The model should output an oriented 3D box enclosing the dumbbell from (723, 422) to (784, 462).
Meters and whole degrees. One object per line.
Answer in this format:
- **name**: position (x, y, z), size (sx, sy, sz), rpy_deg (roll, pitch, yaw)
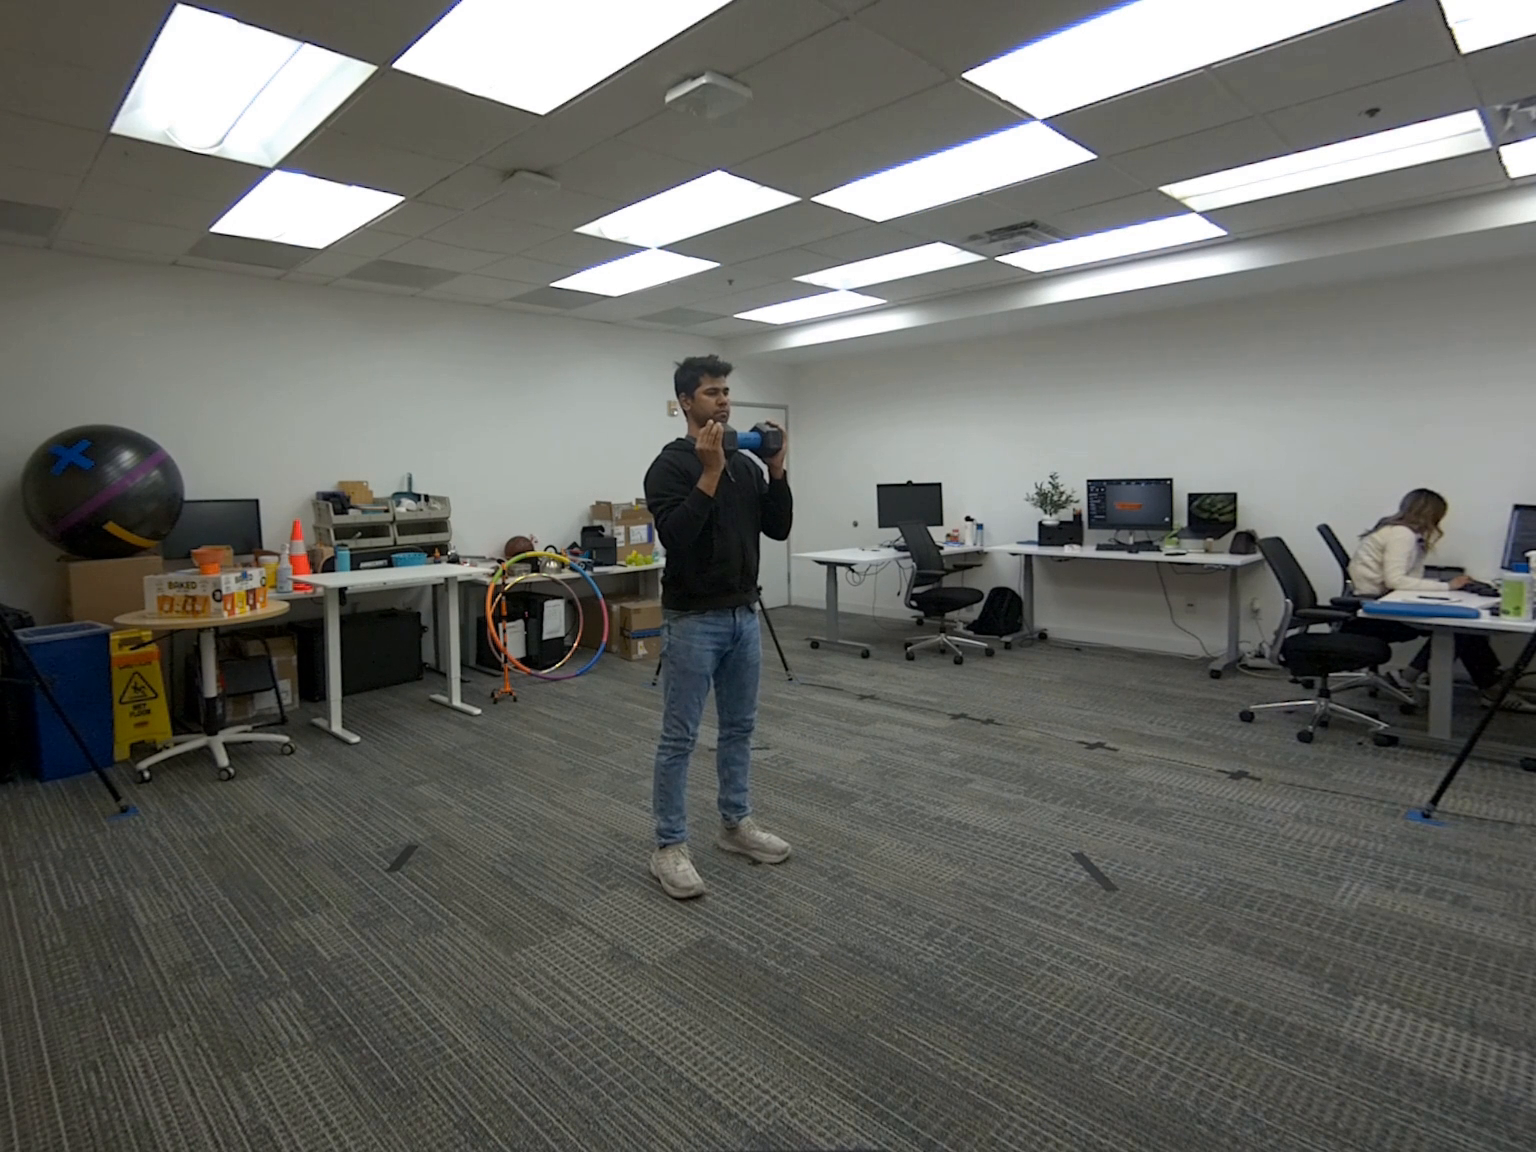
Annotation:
- **dumbbell**: position (-0.088, -0.455, 2.904), size (0.286, 0.122, 0.112), rpy_deg (-10, 6, -44)
